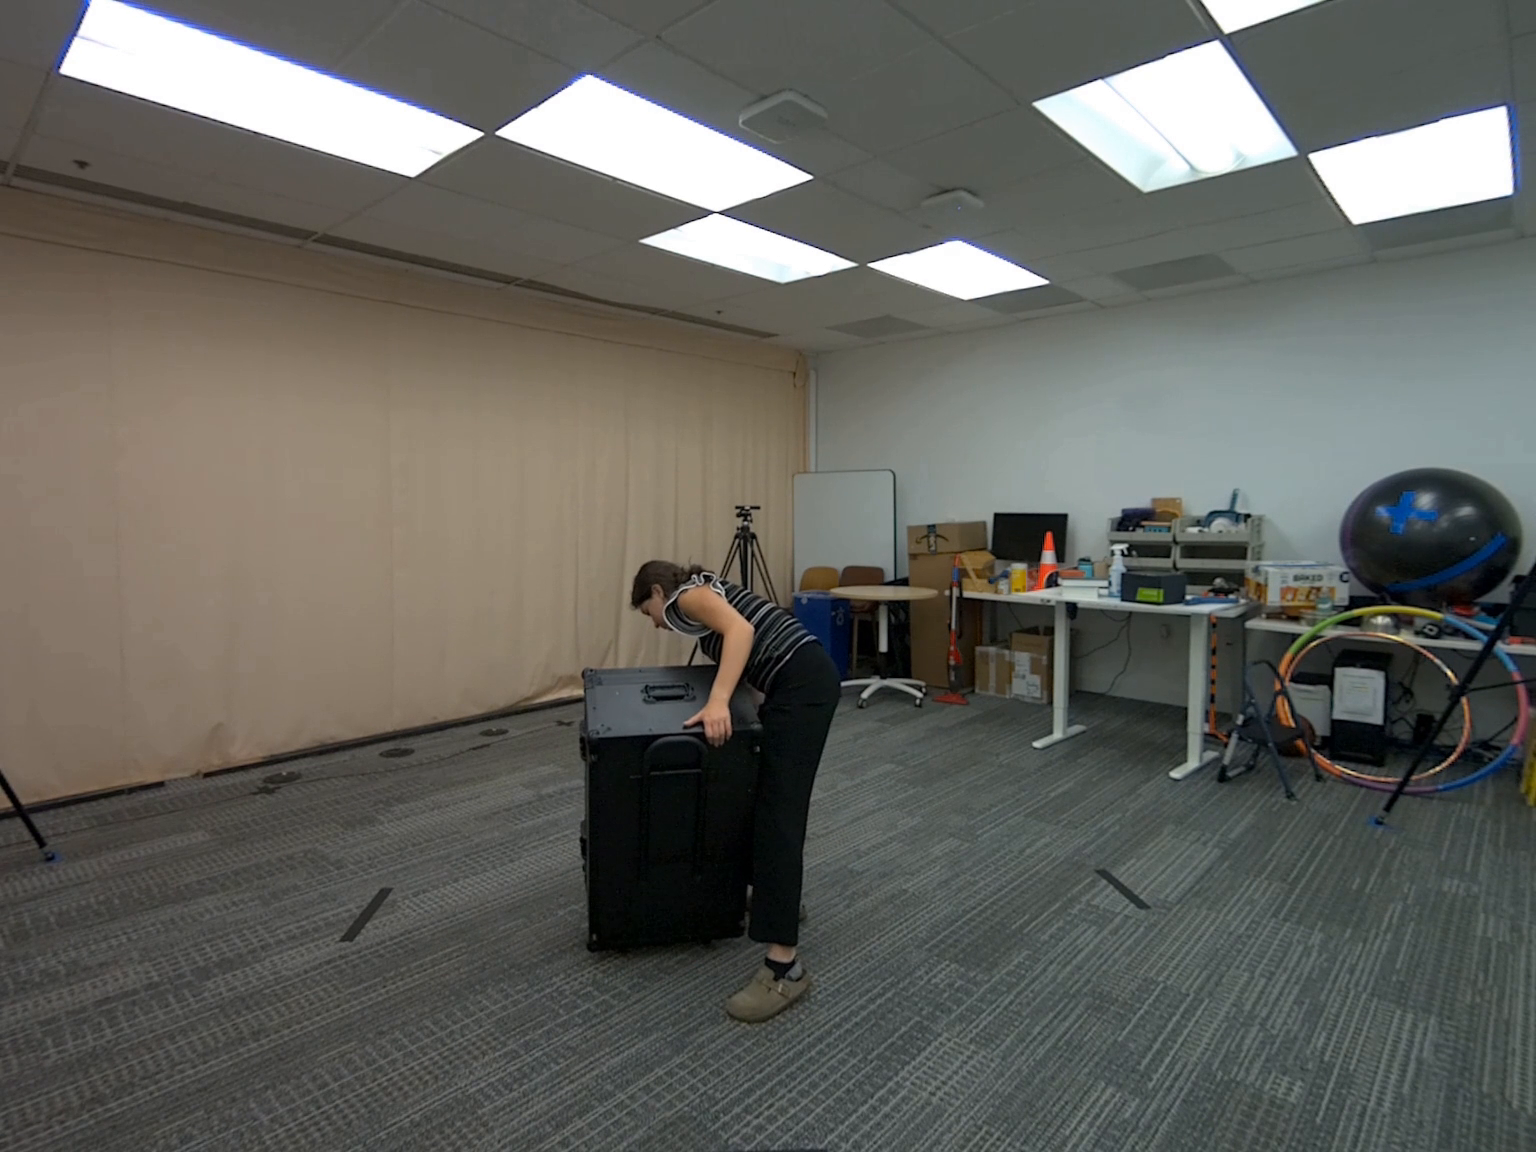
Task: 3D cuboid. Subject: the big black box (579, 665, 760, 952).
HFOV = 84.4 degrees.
[{"bbox_3d":[-0.326,0.746,2.591,0.515,0.851,0.405,0,24,-11],"label":"big black box"}]
